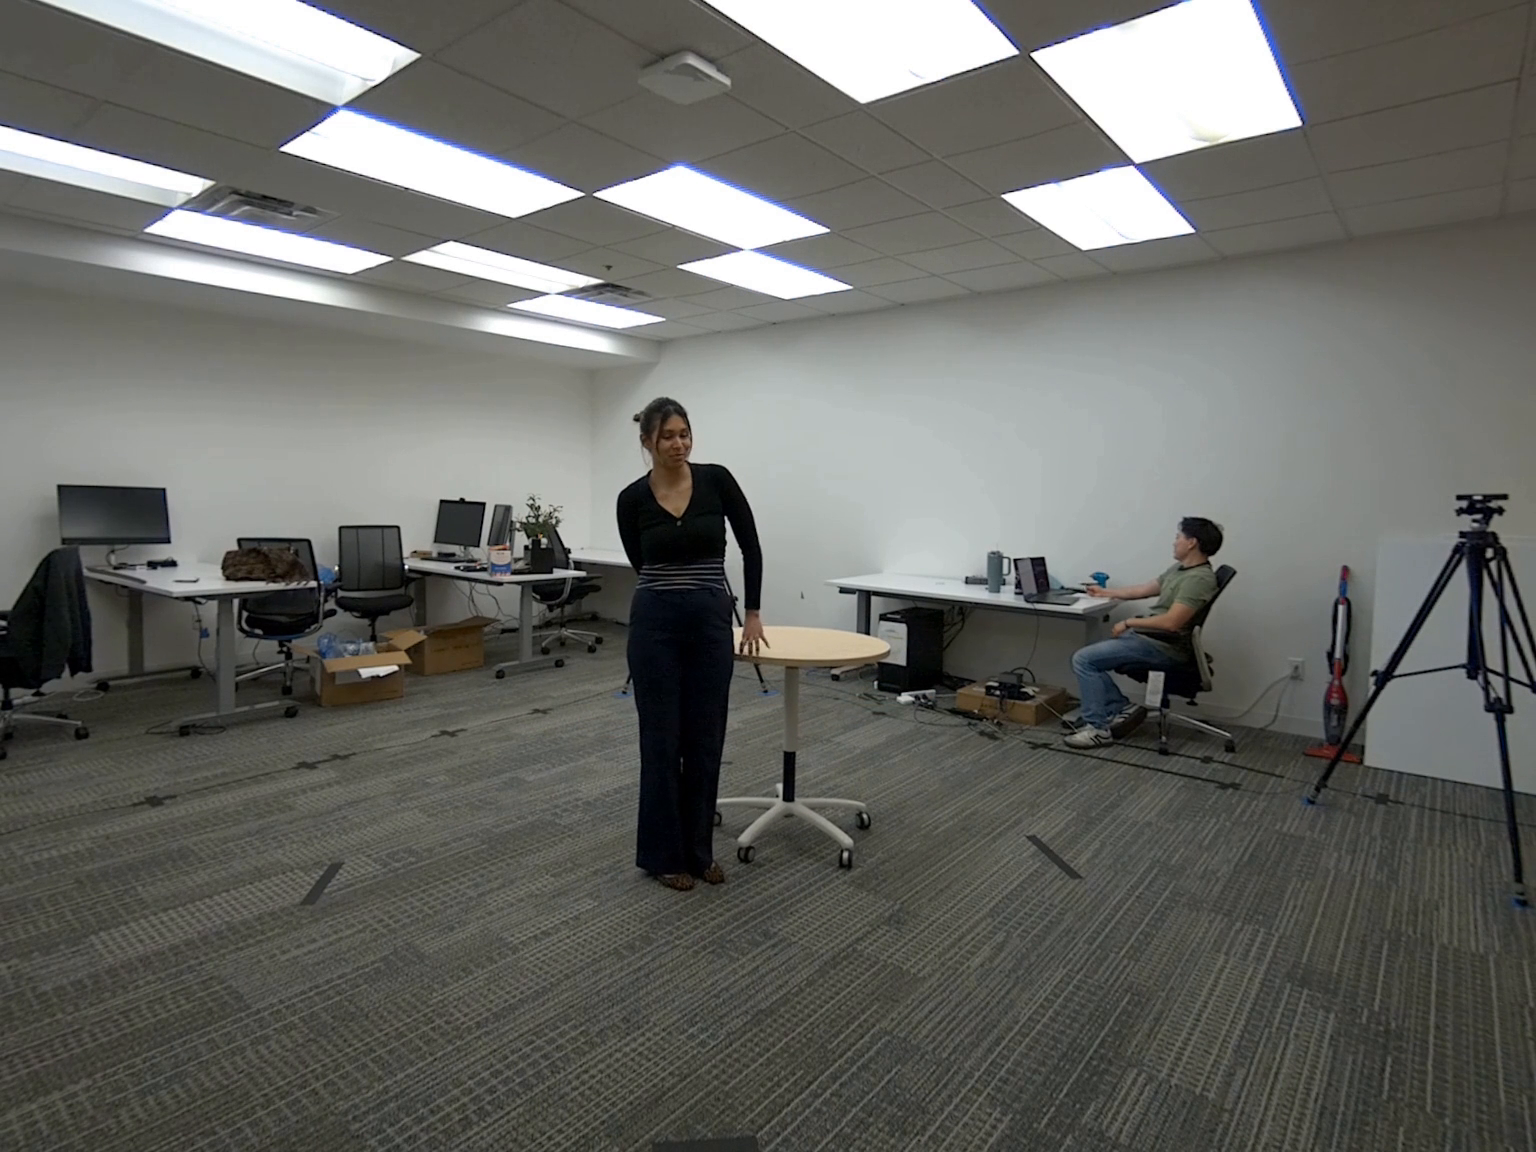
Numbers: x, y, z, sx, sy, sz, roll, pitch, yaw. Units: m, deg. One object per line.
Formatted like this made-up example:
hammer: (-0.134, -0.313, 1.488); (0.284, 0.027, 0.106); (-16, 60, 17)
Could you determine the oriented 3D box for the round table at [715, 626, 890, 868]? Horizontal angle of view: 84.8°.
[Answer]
round table: (0.079, 0.652, 3.407); (0.763, 0.792, 0.767); (1, 4, -2)
